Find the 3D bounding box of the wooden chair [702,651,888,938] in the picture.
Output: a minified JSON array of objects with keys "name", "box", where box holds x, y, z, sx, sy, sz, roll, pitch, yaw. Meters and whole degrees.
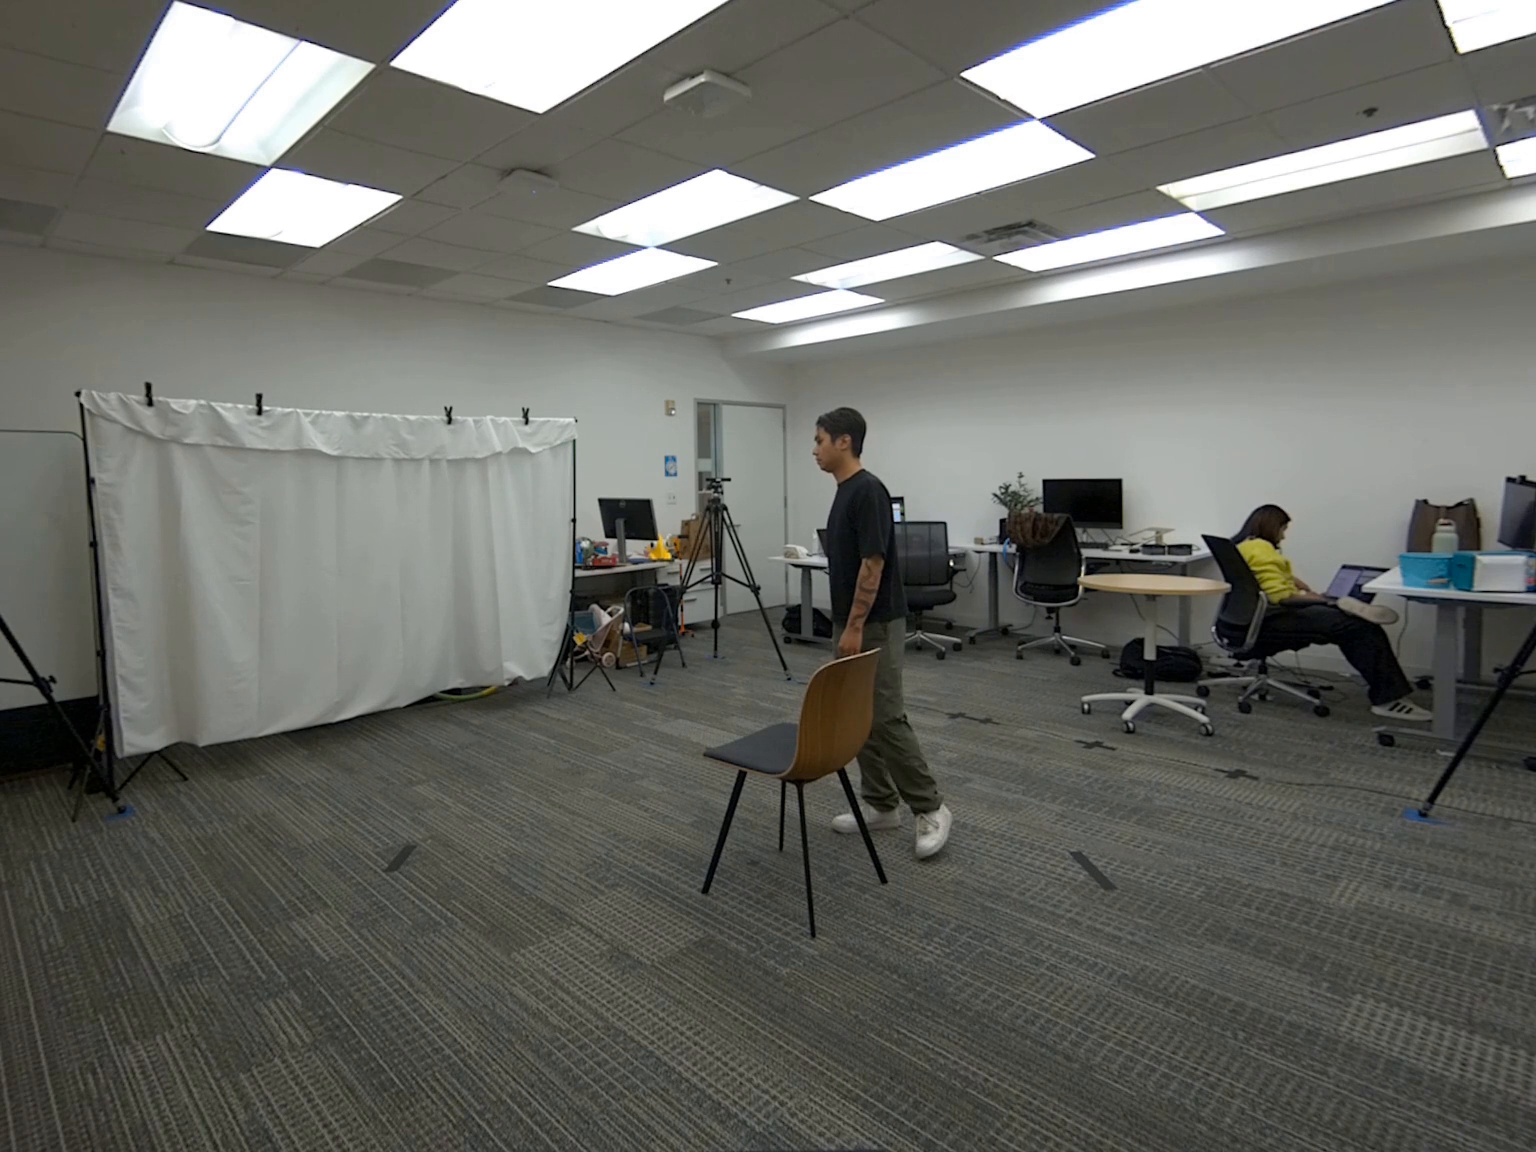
[{"name":"wooden chair","box":[0.080,0.638,2.876,0.540,0.872,0.466,8,9,38]}]
